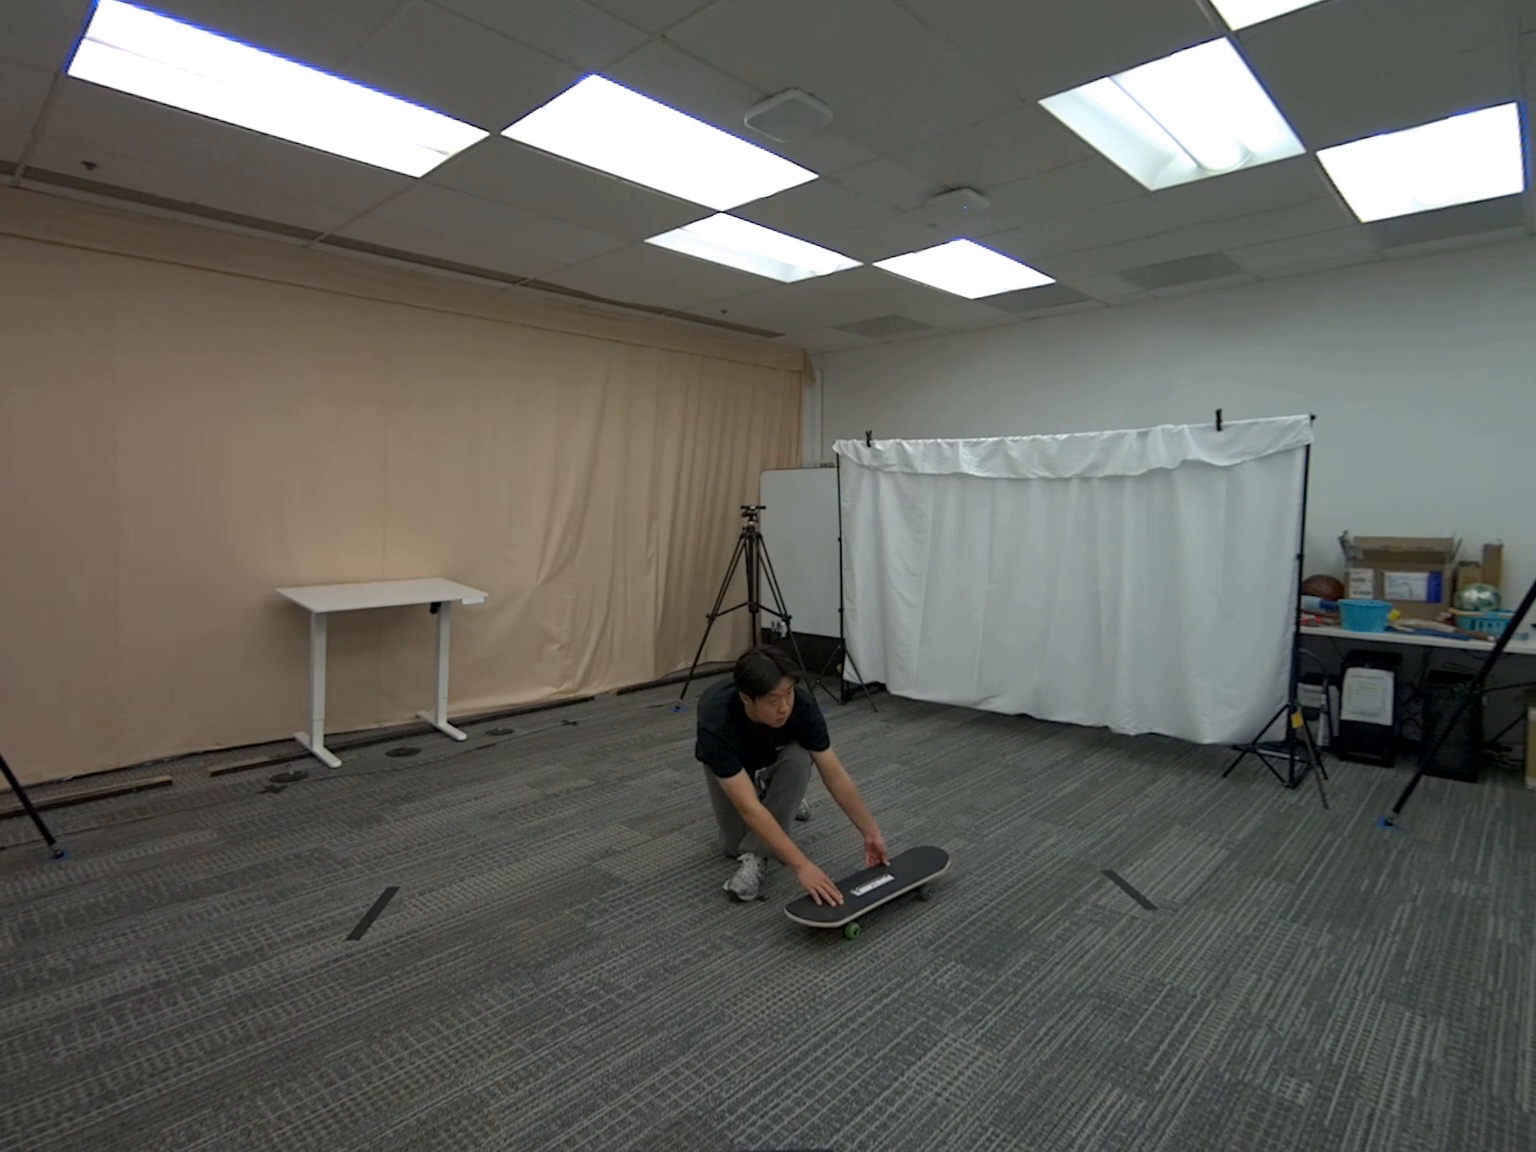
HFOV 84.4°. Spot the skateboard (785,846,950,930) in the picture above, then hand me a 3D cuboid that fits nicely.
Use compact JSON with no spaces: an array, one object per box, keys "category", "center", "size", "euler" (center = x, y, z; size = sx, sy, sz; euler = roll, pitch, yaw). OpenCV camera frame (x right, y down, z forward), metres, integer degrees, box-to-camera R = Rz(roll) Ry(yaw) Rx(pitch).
[{"category":"skateboard","center":[0.353,1.087,2.899],"size":[0.761,0.110,0.200],"euler":[-4,7,-42]}]
